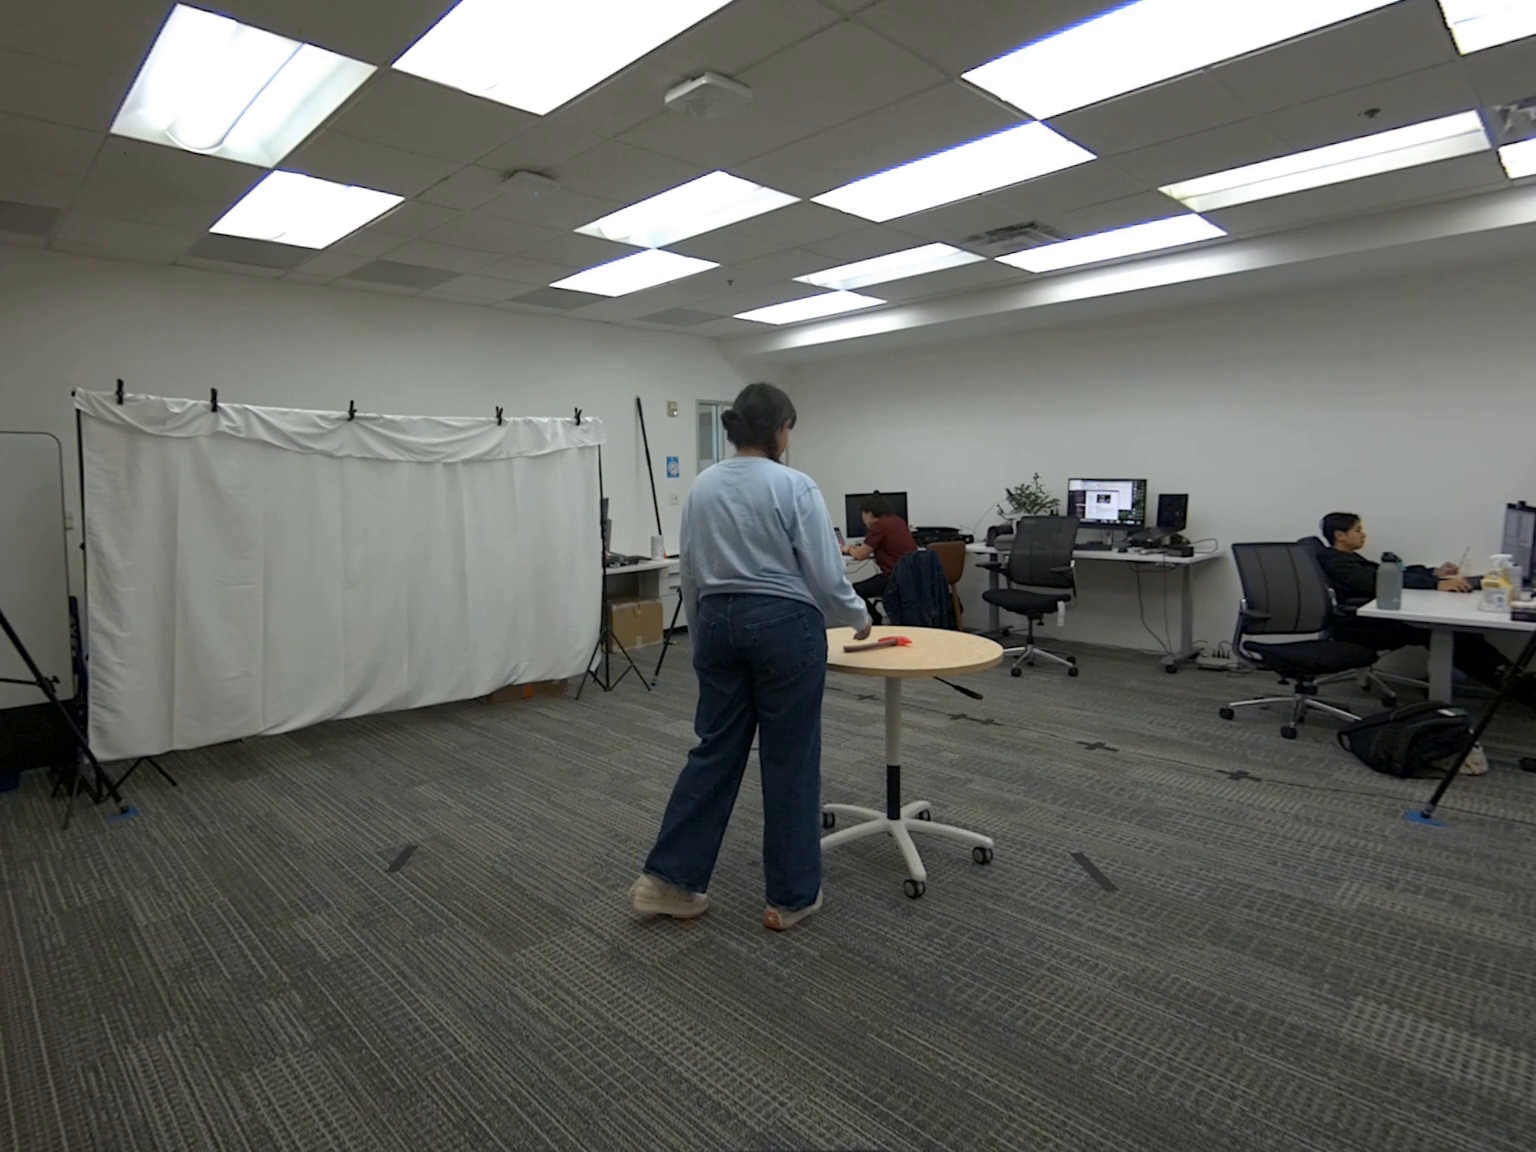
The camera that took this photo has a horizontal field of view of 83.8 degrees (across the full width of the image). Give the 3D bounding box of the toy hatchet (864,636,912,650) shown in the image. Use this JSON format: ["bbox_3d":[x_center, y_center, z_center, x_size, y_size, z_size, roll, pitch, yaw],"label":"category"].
[{"bbox_3d":[0.381,0.242,3.083,0.266,0.029,0.134,-4,7,-18],"label":"toy hatchet"}]
